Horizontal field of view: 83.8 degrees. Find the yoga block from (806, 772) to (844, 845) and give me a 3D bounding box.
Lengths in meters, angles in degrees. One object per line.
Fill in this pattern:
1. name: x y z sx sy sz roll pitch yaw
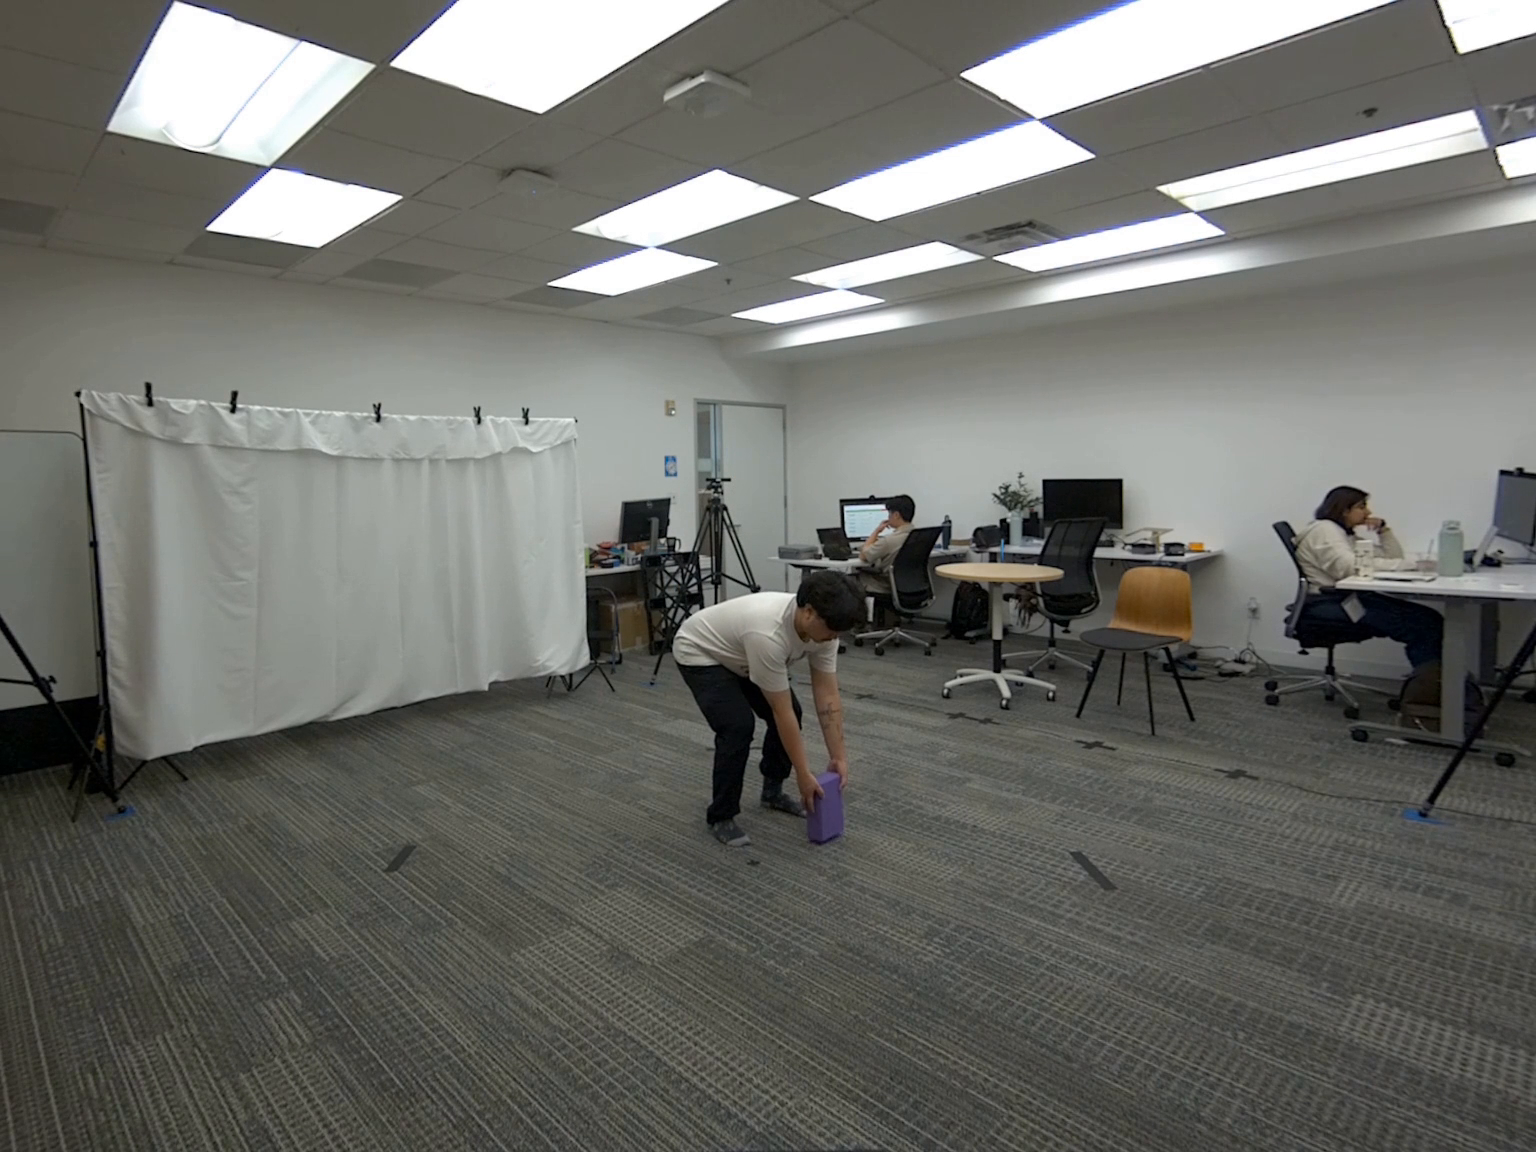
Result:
1. yoga block: 0.221 0.884 3.301 0.079 0.229 0.145 2 3 40
